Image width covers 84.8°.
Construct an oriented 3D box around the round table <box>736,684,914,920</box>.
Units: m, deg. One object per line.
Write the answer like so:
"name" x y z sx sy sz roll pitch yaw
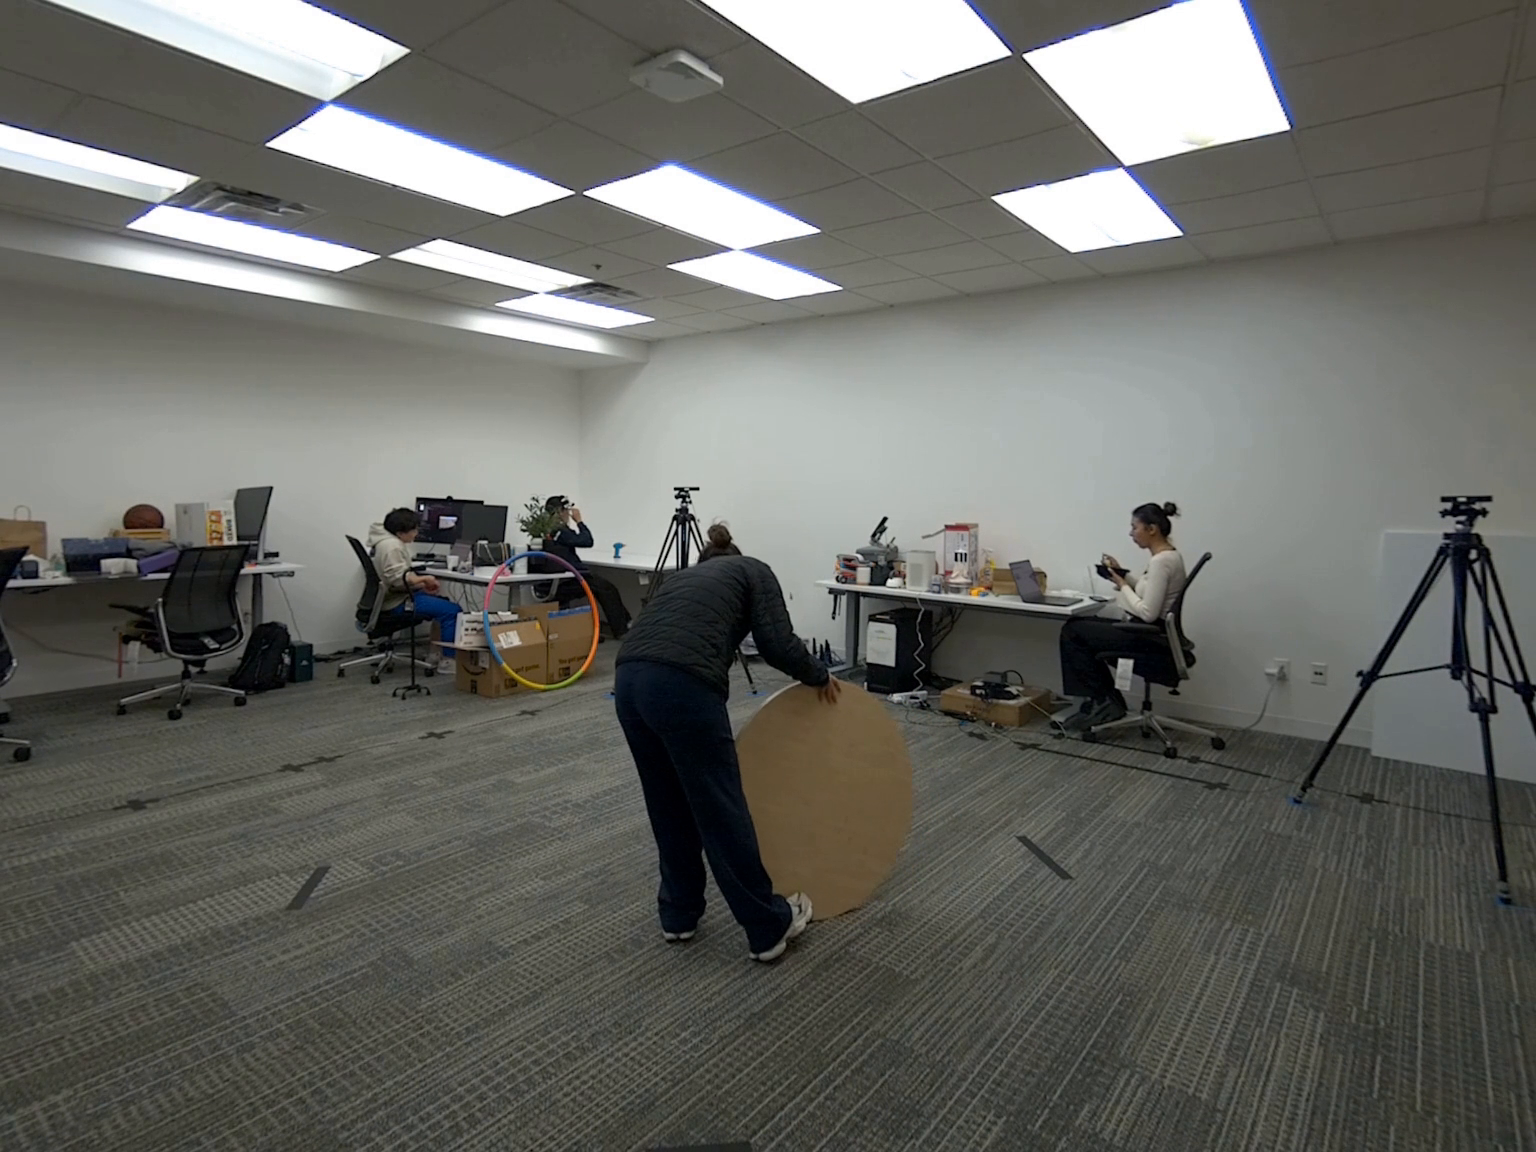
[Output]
"round table" -0.008 0.727 3.150 0.763 0.787 0.806 -2 -2 -32
